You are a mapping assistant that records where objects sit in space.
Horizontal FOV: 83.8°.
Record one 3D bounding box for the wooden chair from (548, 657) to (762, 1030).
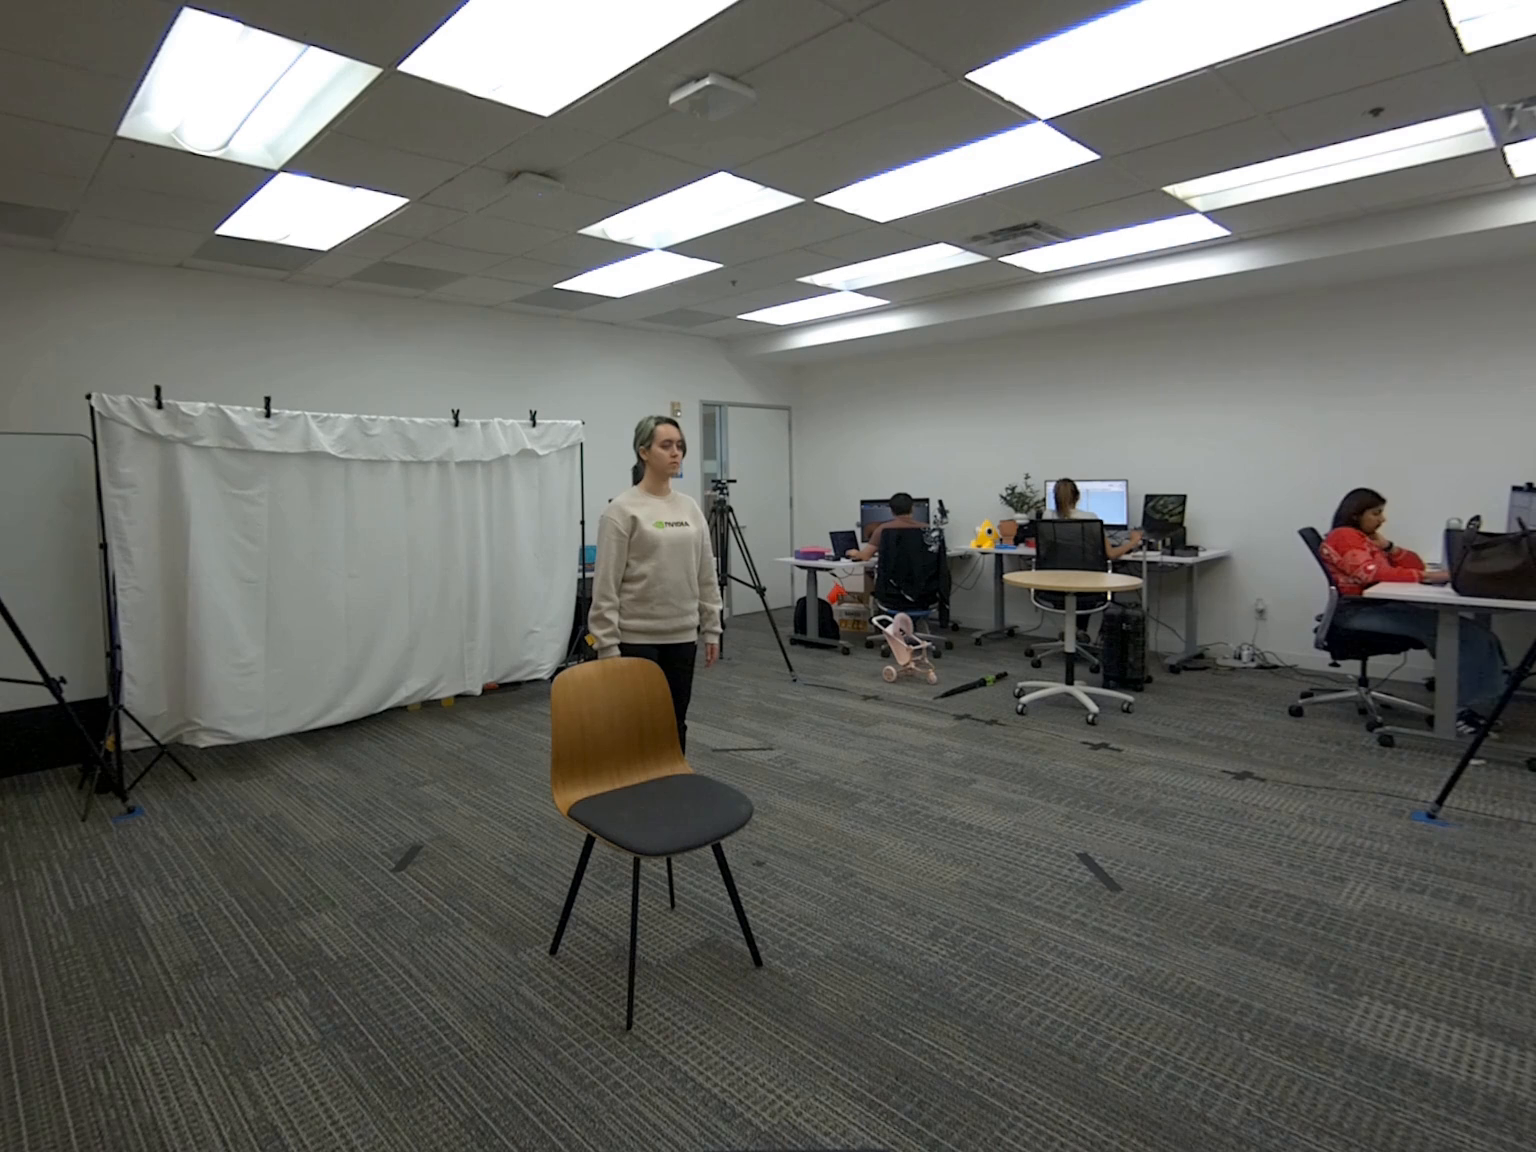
[{"bbox_3d":[-0.338,0.706,2.454,0.466,0.877,0.537,-5,2,-39],"label":"wooden chair"}]
